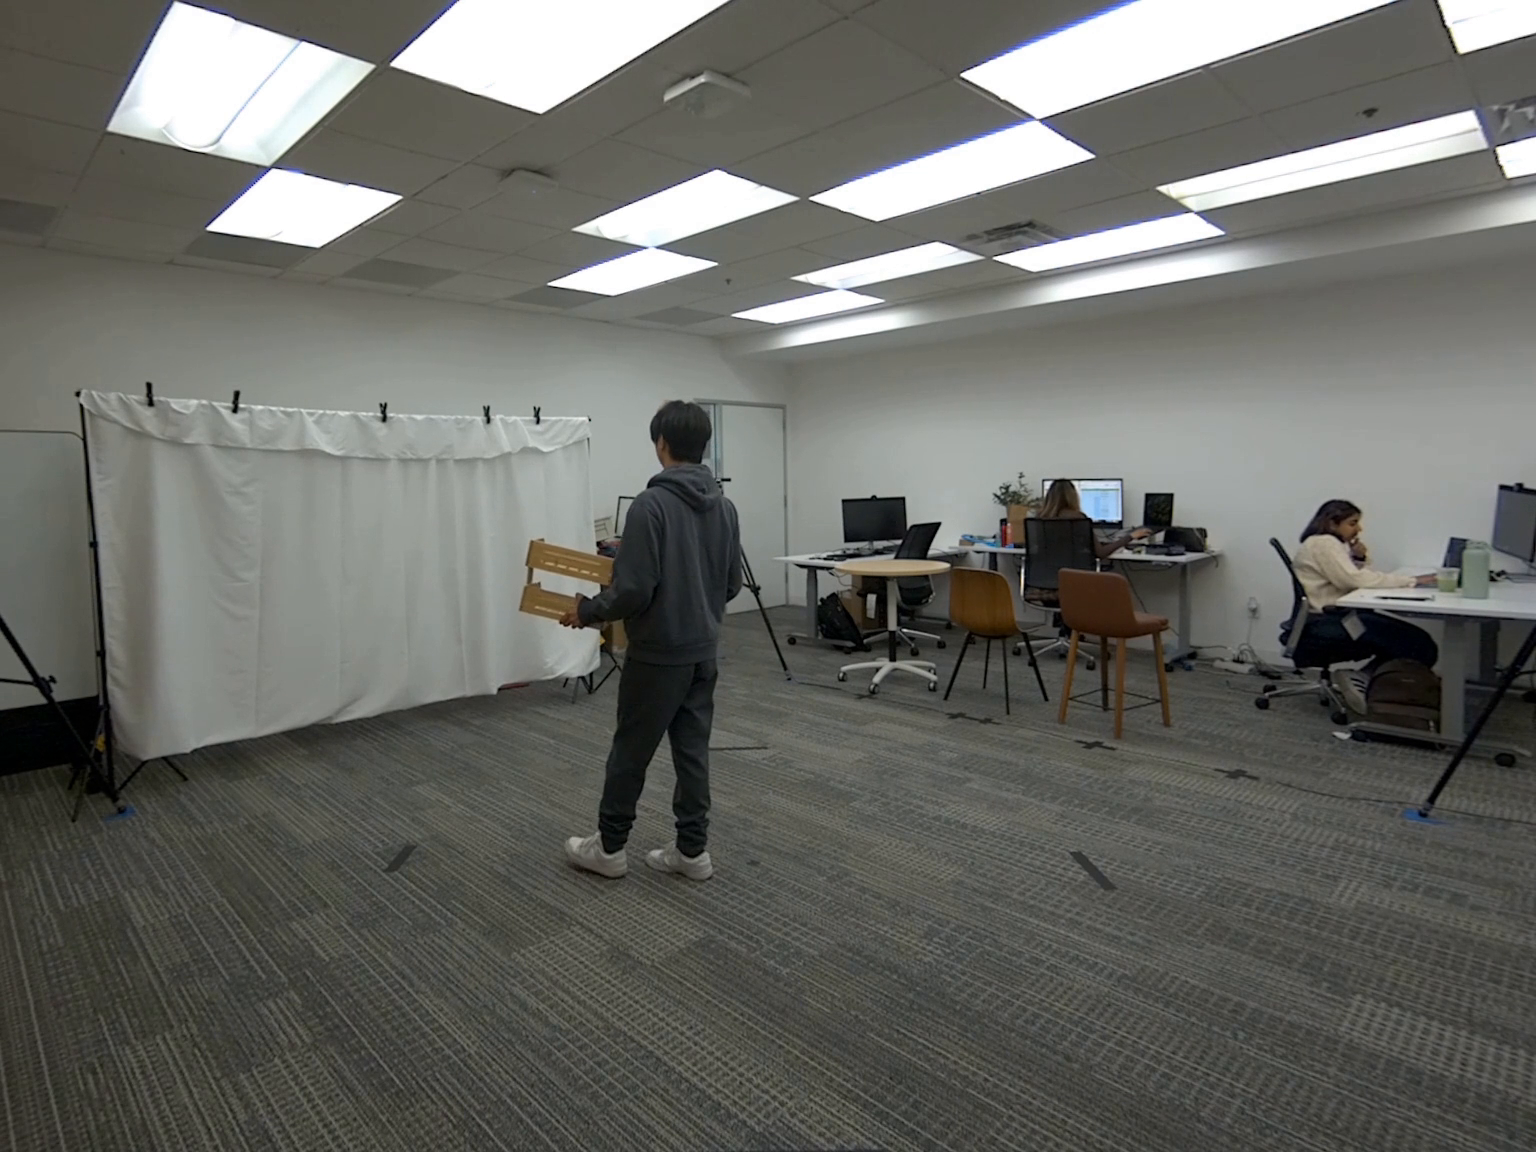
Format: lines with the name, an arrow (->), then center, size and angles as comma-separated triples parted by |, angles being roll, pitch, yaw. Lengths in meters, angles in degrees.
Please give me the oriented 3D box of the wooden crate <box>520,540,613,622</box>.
wooden crate -> -0.703, 0.018, 3.077 | 0.324, 0.273, 0.303 | 13, 2, -3
